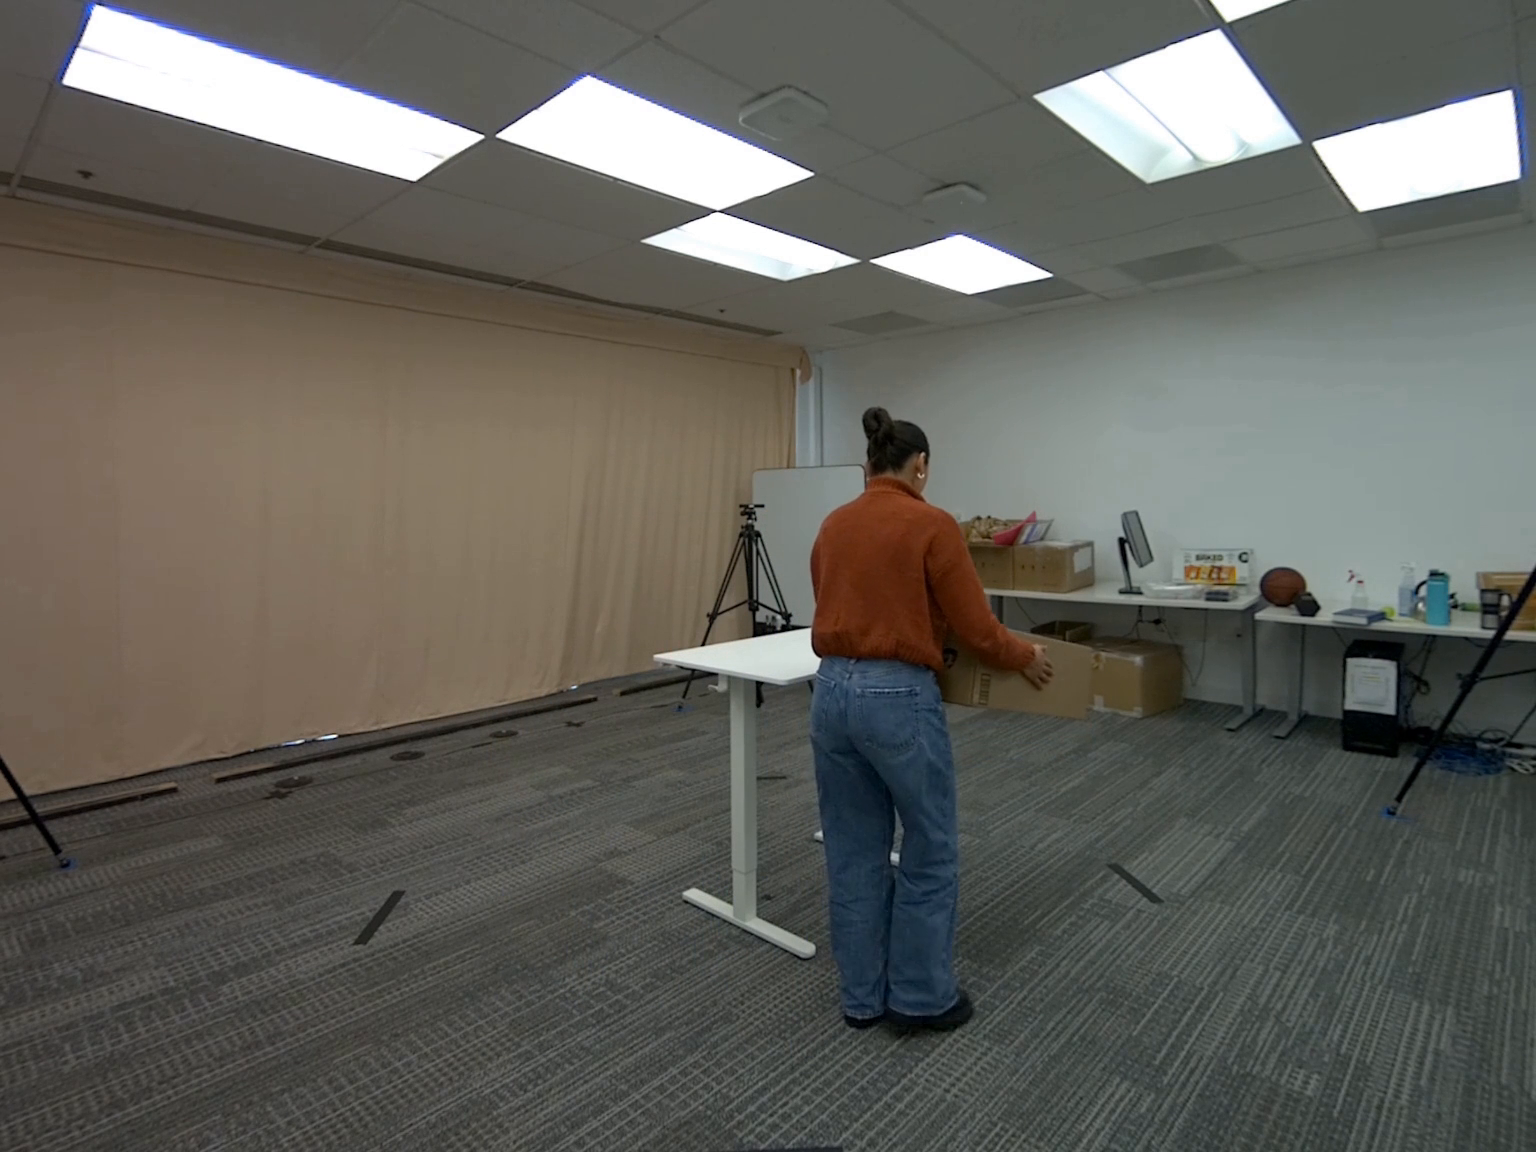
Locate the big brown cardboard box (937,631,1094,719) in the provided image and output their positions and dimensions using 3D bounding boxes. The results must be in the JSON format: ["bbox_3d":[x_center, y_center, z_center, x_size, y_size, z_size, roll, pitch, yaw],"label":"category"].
[{"bbox_3d":[0.615,0.264,2.450,0.569,0.234,0.431,14,-7,-39],"label":"big brown cardboard box"}]
